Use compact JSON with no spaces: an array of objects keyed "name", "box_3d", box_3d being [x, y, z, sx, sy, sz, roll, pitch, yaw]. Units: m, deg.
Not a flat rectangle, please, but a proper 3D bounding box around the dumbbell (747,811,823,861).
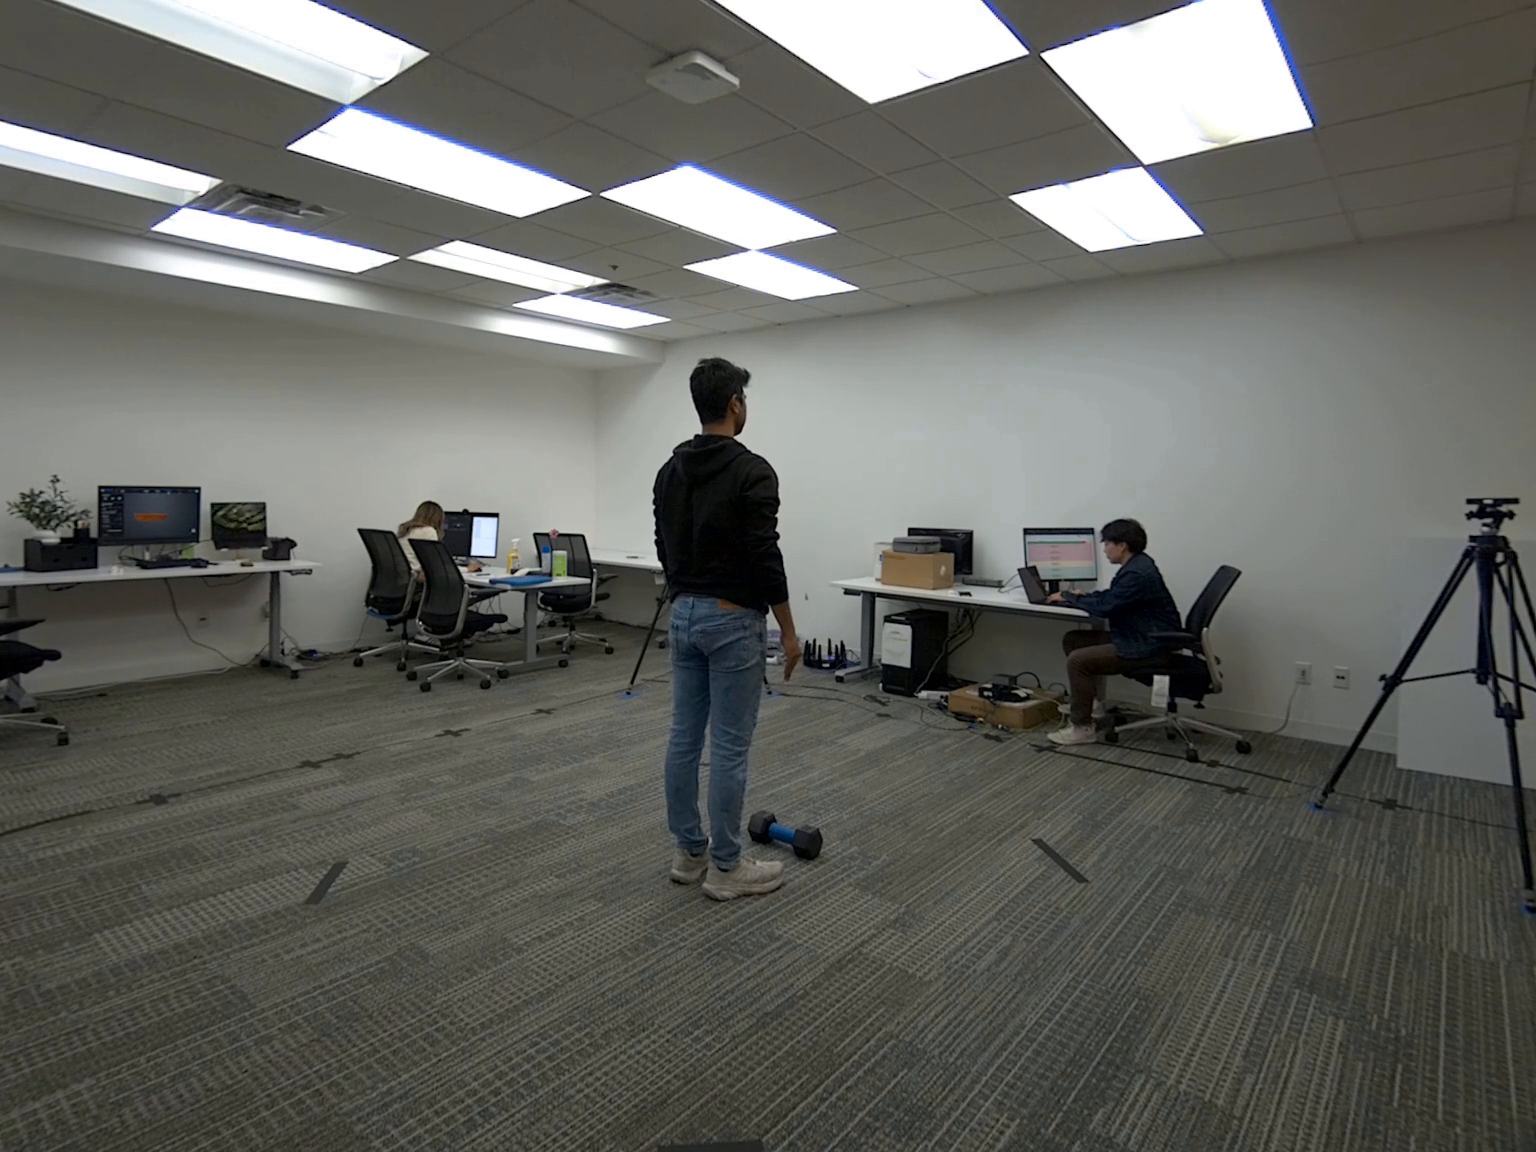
[{"name":"dumbbell","box_3d":[0.054,0.999,3.303,0.303,0.124,0.104,6,-25,37]}]
